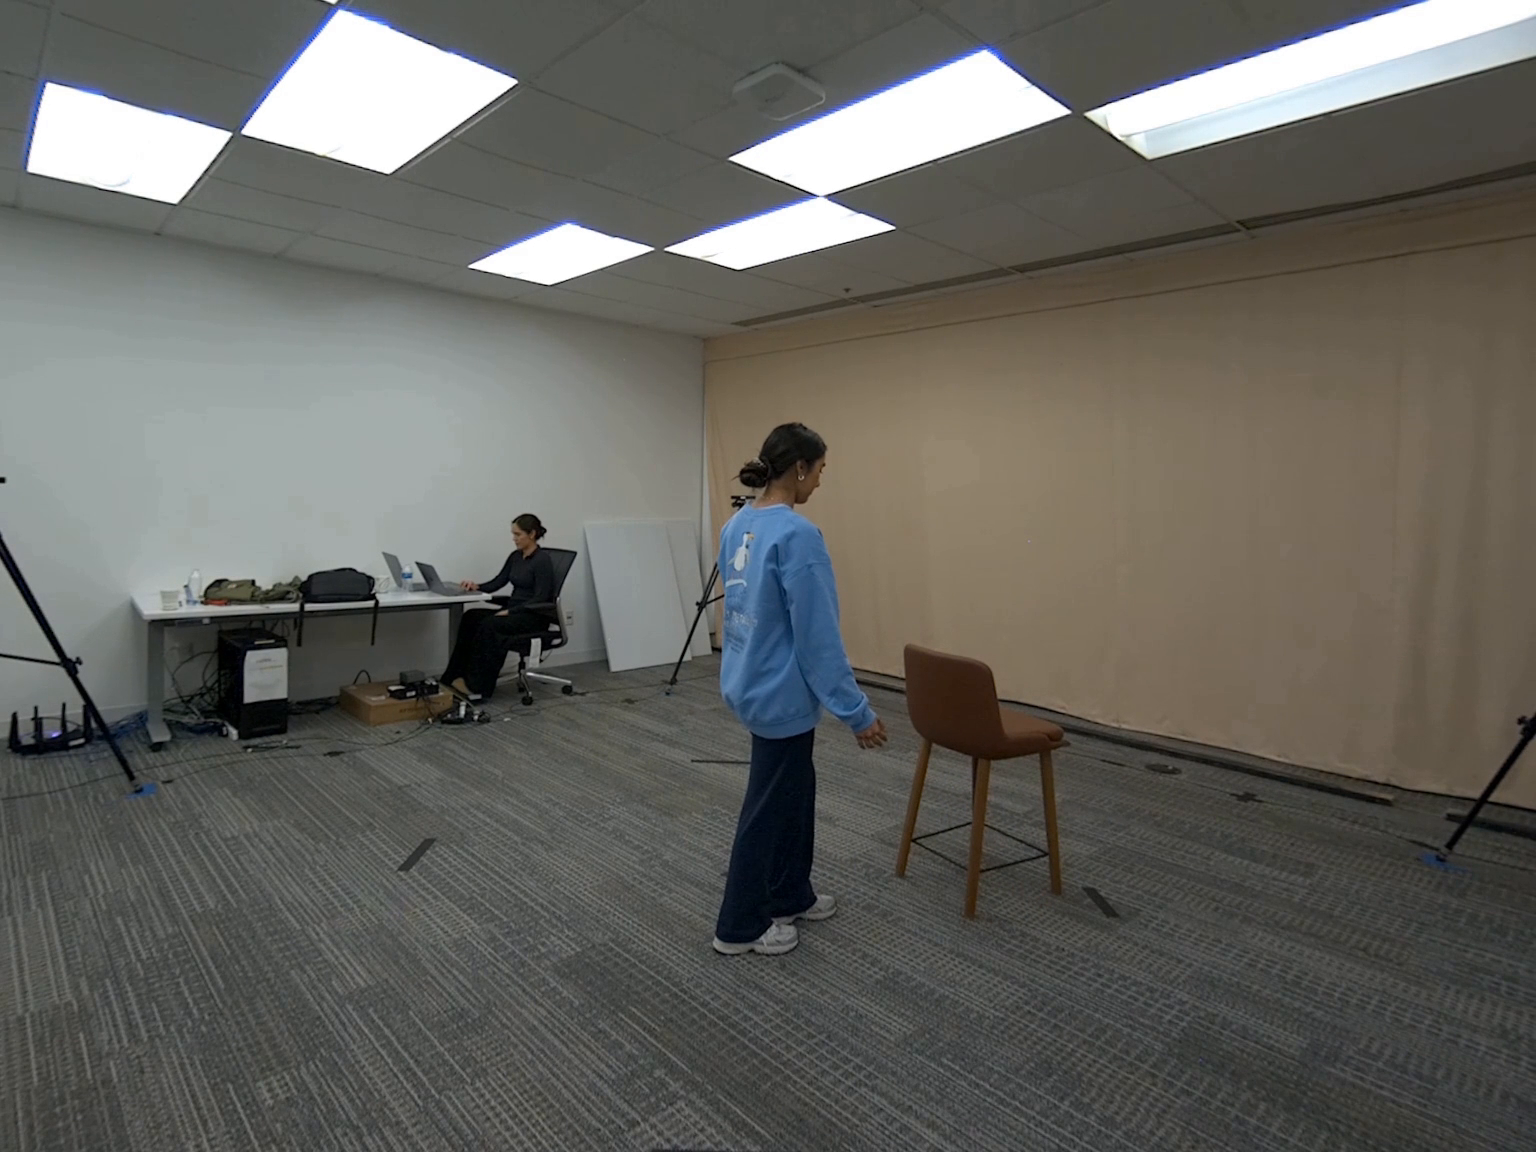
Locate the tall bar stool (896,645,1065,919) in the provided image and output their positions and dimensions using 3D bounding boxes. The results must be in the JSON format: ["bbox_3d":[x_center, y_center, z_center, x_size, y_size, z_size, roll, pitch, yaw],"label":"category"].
[{"bbox_3d":[0.755,0.687,3.058,0.458,0.887,0.467,-3,5,-31],"label":"tall bar stool"}]
